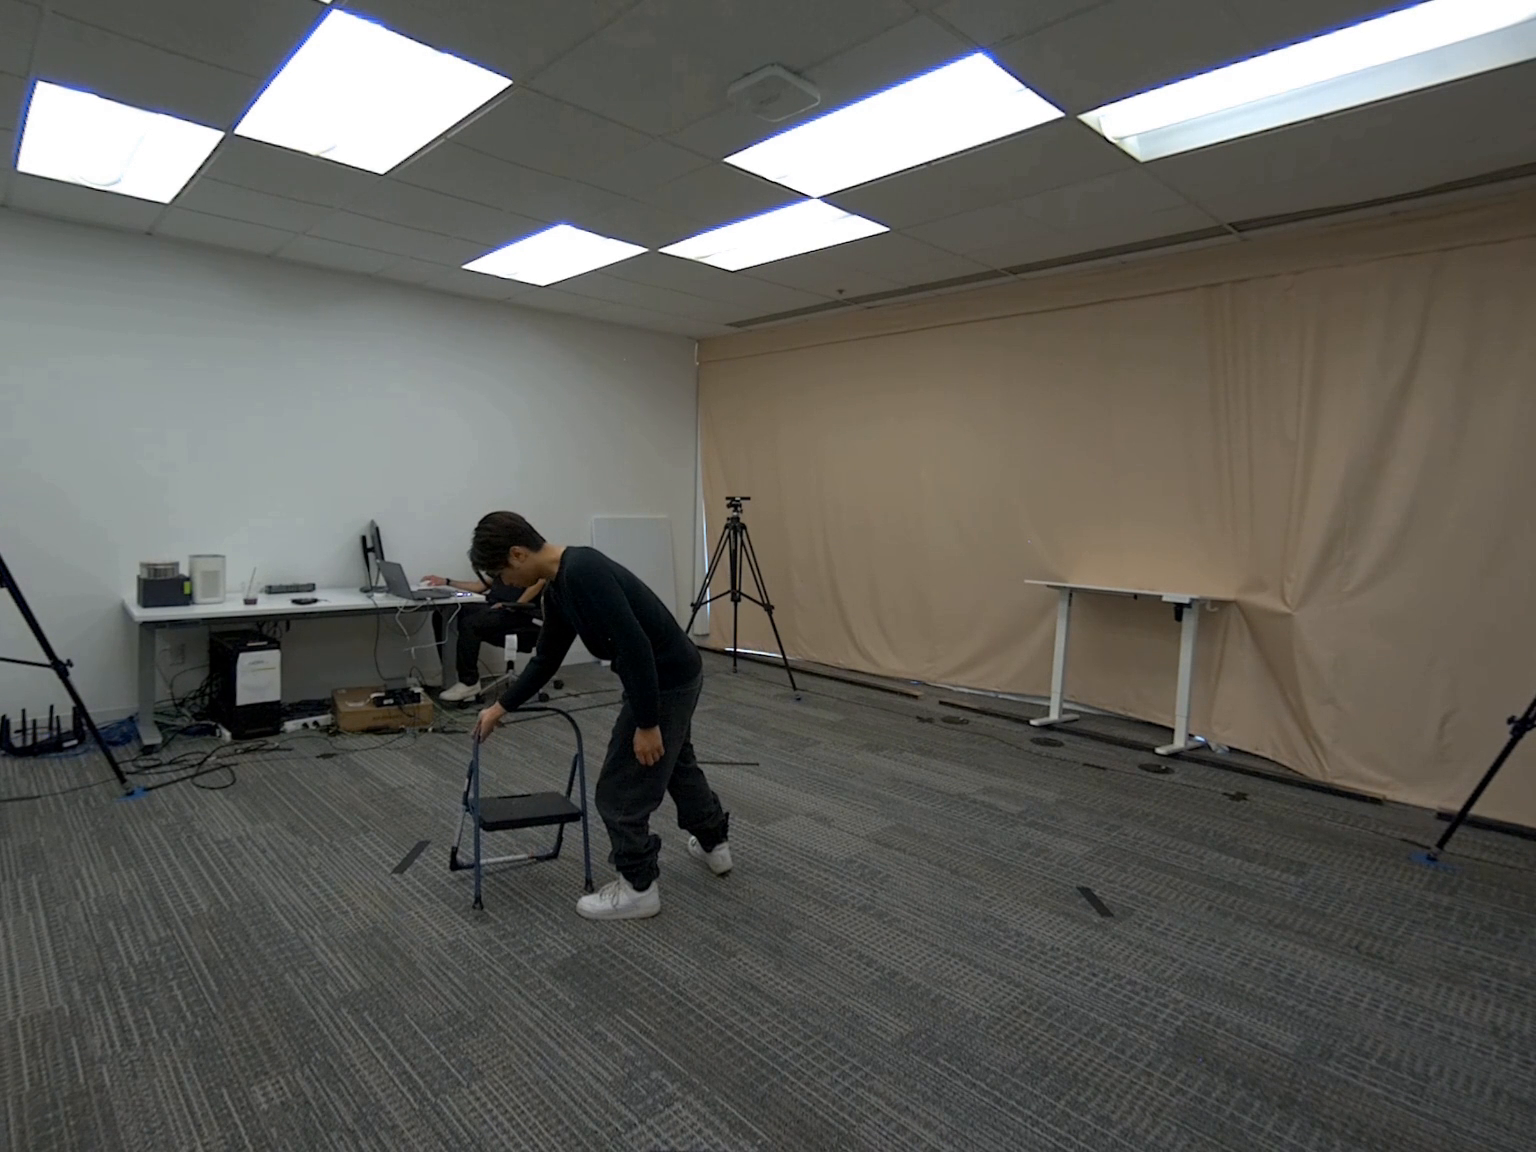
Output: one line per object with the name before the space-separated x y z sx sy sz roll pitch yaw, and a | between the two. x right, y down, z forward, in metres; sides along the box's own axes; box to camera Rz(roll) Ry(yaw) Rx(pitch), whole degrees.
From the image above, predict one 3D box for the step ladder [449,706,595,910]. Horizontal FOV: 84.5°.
step ladder | -0.855 0.781 2.993 0.420 0.606 0.358 5 1 -36
